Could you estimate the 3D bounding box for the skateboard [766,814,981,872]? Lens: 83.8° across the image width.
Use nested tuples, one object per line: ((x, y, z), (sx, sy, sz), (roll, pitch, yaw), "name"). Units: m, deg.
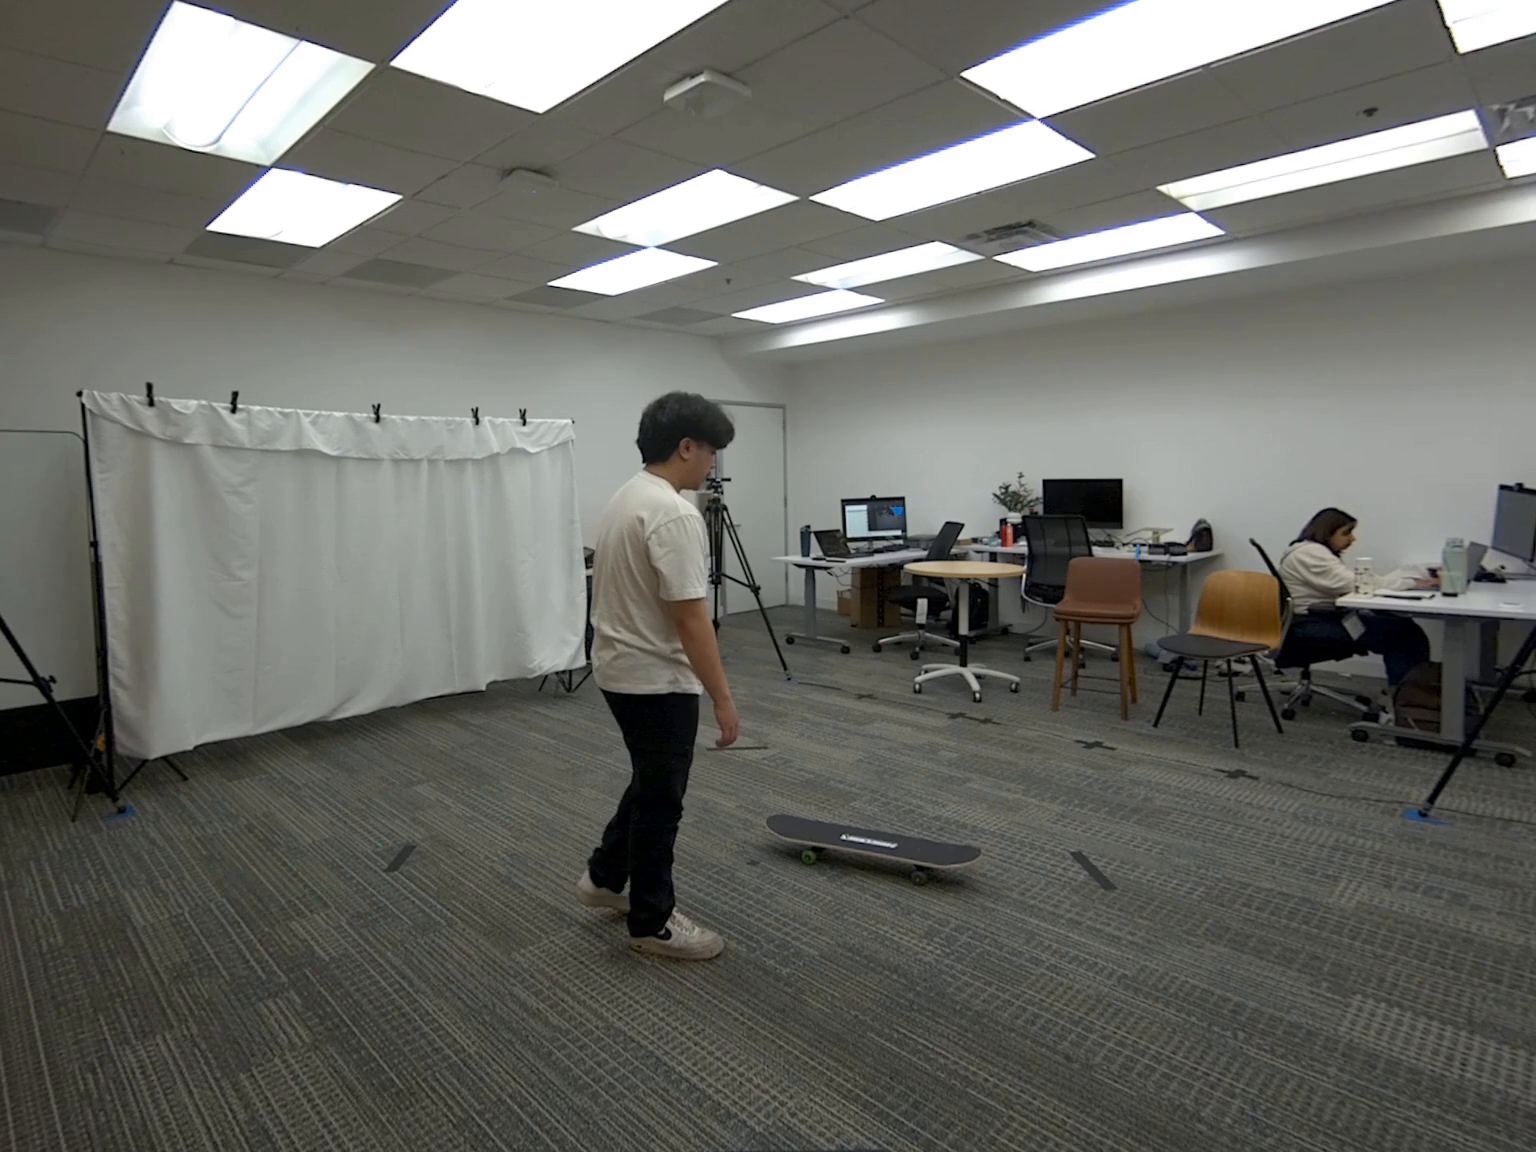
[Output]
((0.359, 0.981, 3.069), (0.804, 0.110, 0.190), (2, 6, 25), "skateboard")
